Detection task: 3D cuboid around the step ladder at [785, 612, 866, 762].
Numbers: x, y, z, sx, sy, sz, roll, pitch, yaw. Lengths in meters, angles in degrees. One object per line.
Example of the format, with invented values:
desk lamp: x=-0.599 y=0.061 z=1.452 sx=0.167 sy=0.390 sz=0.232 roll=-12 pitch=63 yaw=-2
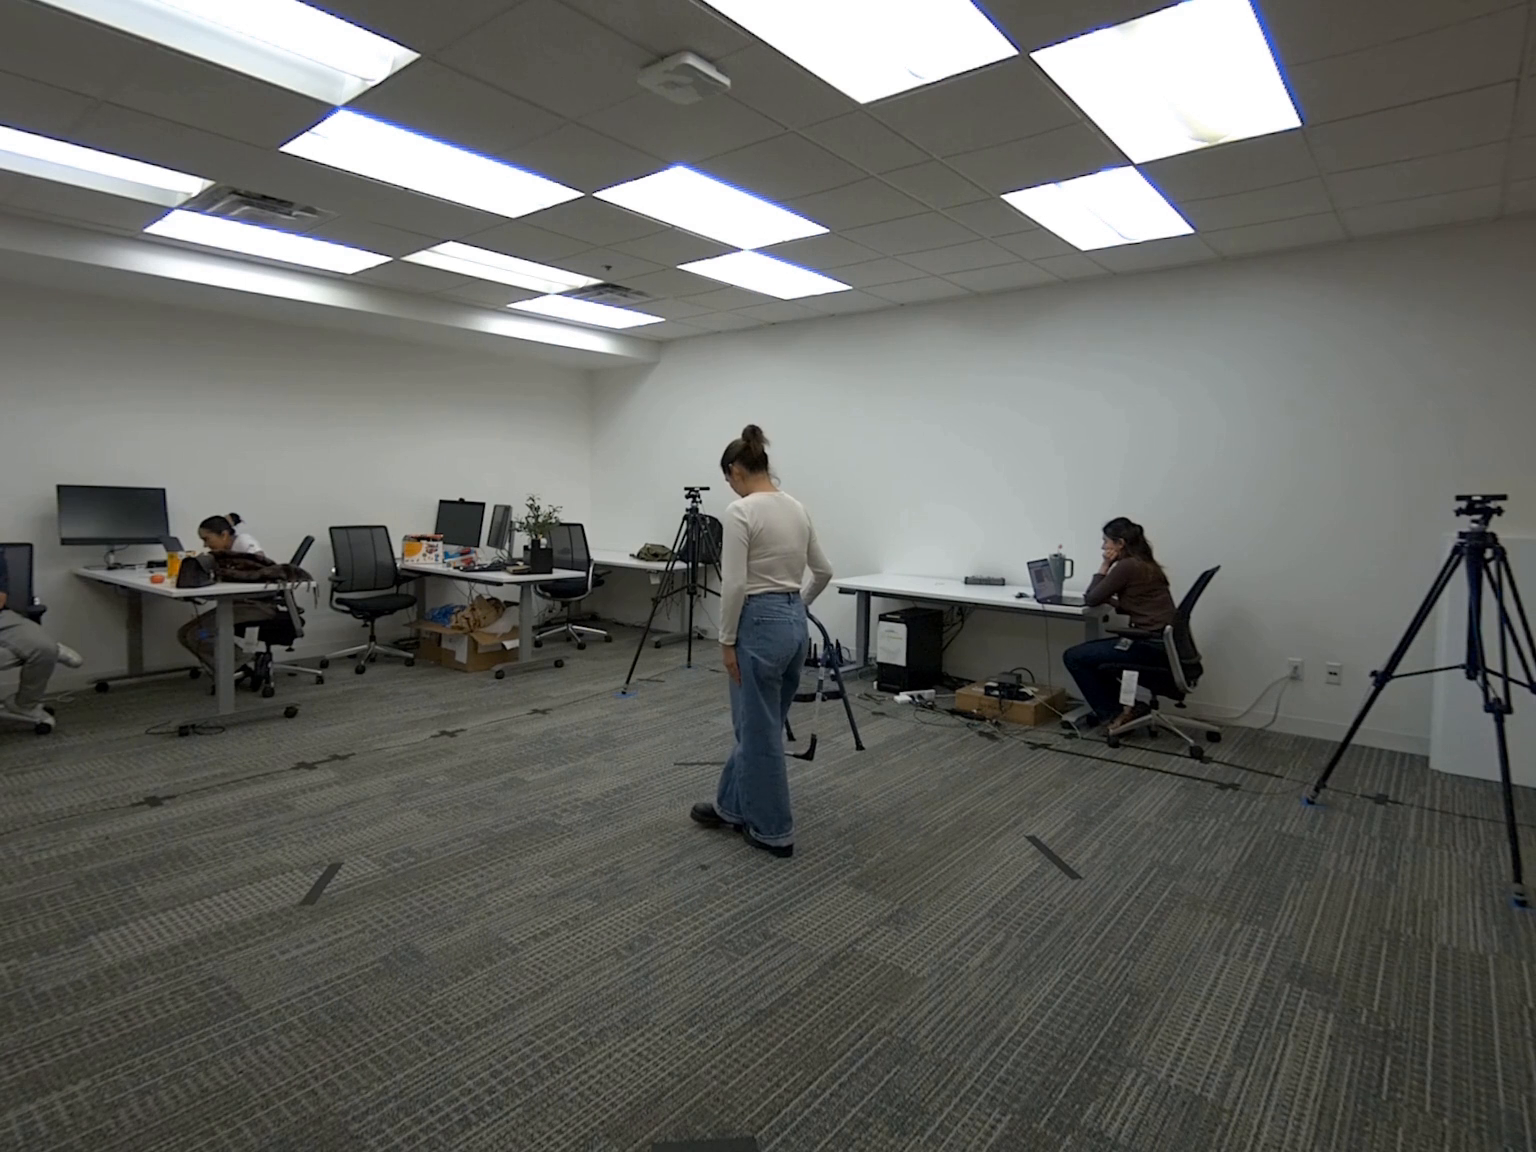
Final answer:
step ladder: x=0.128 y=0.448 z=3.674 sx=0.338 sy=0.609 sz=0.443 roll=2 pitch=-6 yaw=-44
